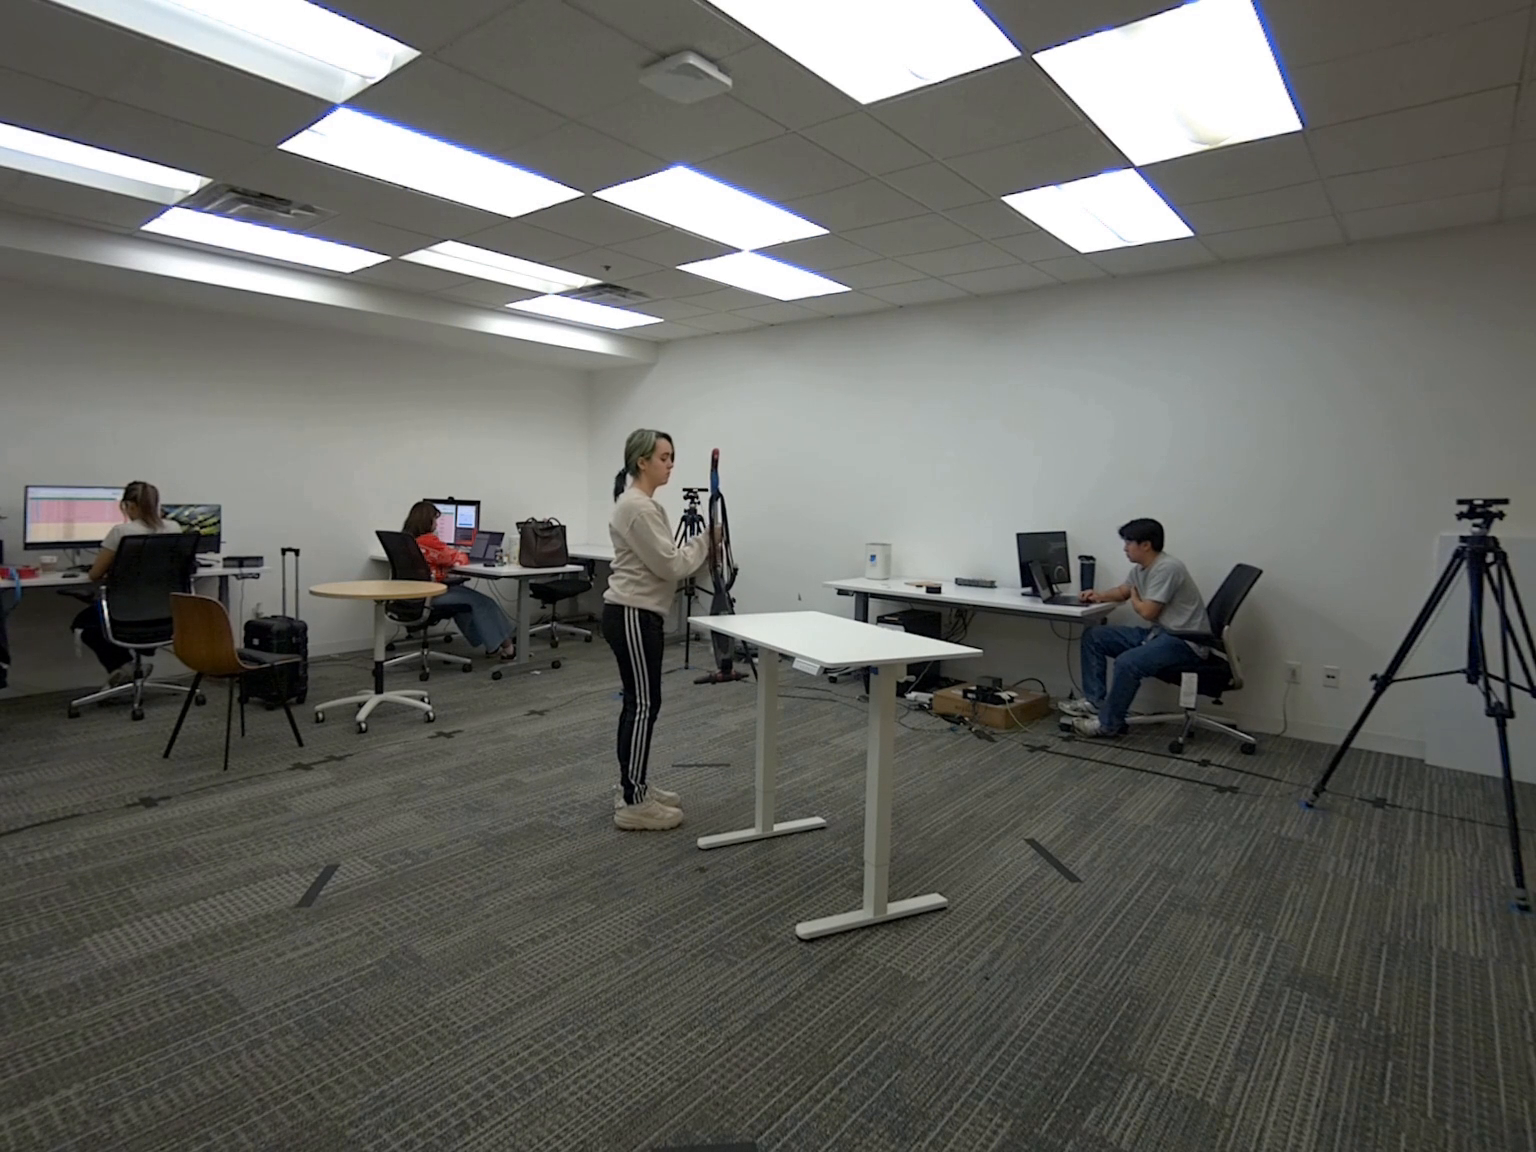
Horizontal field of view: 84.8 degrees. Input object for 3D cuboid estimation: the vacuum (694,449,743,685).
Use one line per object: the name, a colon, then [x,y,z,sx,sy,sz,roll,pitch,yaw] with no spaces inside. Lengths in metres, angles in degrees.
vacuum: [-0.216,-0.019,3.657,0.247,1.032,0.149,-9,20,-29]
